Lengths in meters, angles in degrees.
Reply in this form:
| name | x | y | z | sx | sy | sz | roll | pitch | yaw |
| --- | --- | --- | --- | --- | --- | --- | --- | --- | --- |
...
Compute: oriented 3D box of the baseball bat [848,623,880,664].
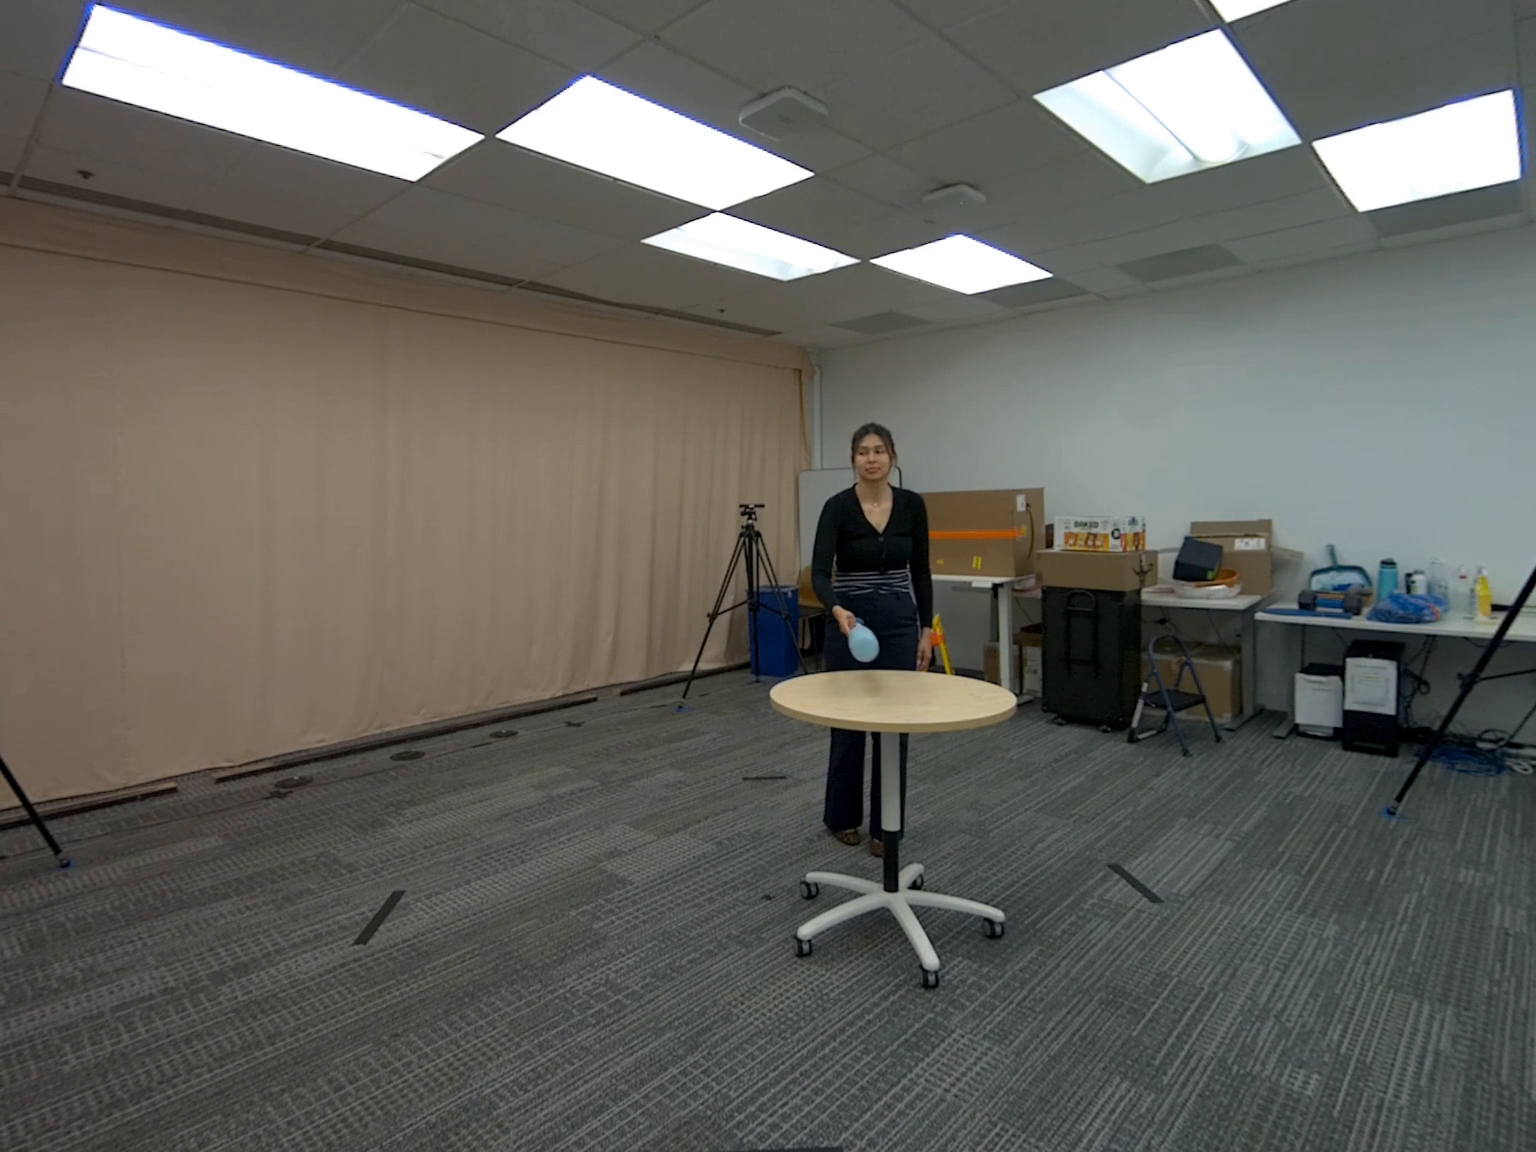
| name | x | y | z | sx | sy | sz | roll | pitch | yaw |
| --- | --- | --- | --- | --- | --- | --- | --- | --- | --- |
| baseball bat | 0.309 | 0.198 | 2.854 | 0.089 | 0.089 | 0.542 | -1 | 5 | 2 |
